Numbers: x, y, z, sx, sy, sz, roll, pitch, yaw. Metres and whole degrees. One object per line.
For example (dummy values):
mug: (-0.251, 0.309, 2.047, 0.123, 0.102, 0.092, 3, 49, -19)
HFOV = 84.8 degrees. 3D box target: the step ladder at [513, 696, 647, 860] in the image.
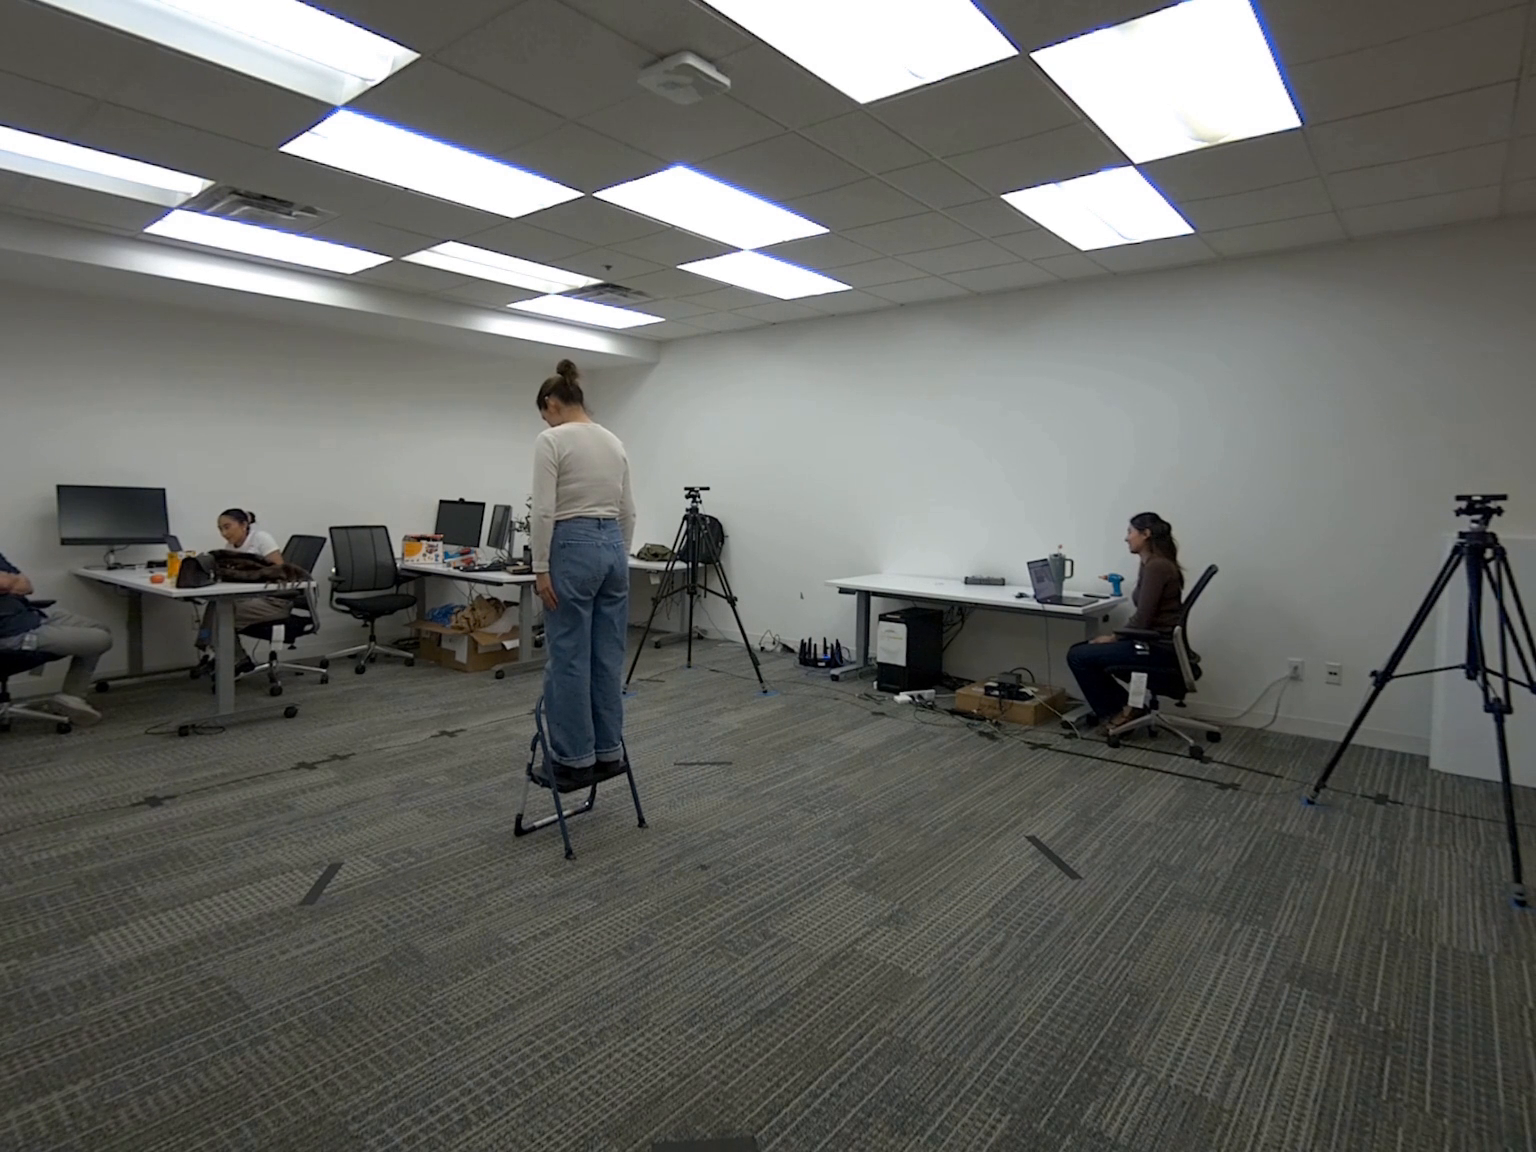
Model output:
step ladder: (-0.760, 0.725, 3.422, 0.360, 0.605, 0.418, 3, 3, 36)
